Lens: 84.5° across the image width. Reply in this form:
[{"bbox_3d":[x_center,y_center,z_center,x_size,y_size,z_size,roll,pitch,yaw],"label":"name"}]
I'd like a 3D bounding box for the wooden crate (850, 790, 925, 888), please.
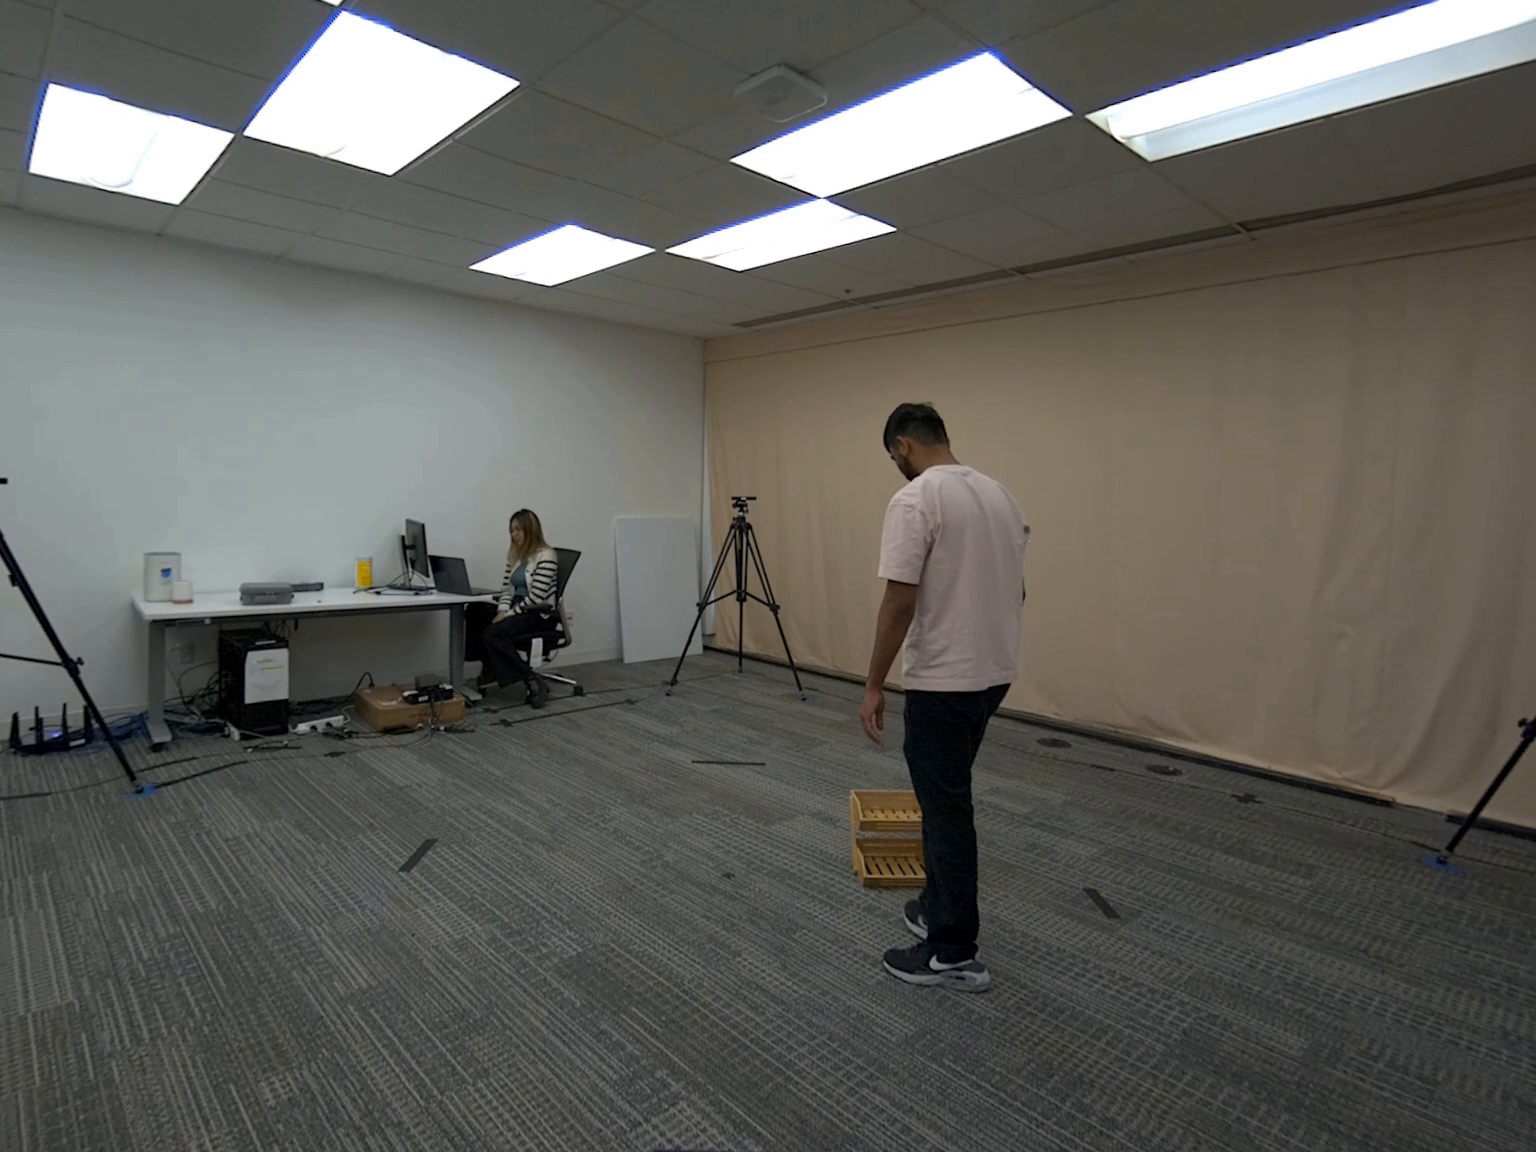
[{"bbox_3d":[0.478,0.981,3.165,0.323,0.273,0.304,1,3,-5],"label":"wooden crate"}]
